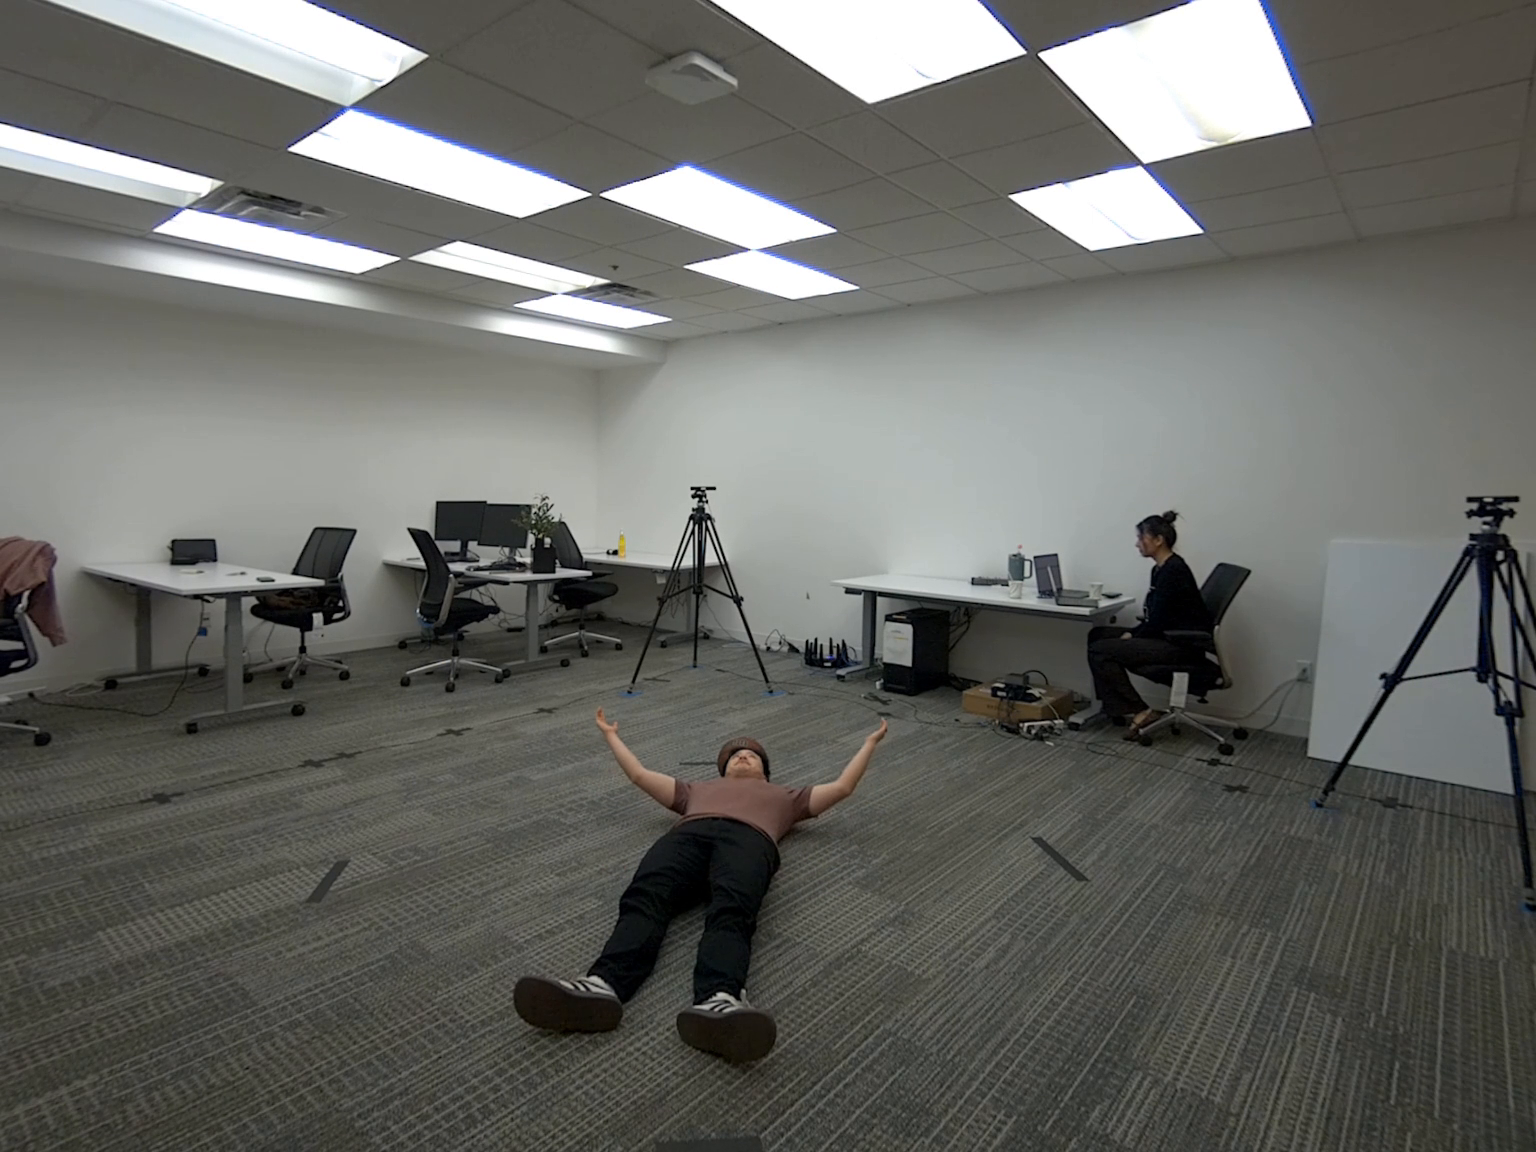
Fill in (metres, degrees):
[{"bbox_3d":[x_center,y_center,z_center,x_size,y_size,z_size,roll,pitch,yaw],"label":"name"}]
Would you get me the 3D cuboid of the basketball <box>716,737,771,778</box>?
[{"bbox_3d":[-0.130,0.863,3.948,0.236,0.235,0.237,-3,3,-2],"label":"basketball"}]
